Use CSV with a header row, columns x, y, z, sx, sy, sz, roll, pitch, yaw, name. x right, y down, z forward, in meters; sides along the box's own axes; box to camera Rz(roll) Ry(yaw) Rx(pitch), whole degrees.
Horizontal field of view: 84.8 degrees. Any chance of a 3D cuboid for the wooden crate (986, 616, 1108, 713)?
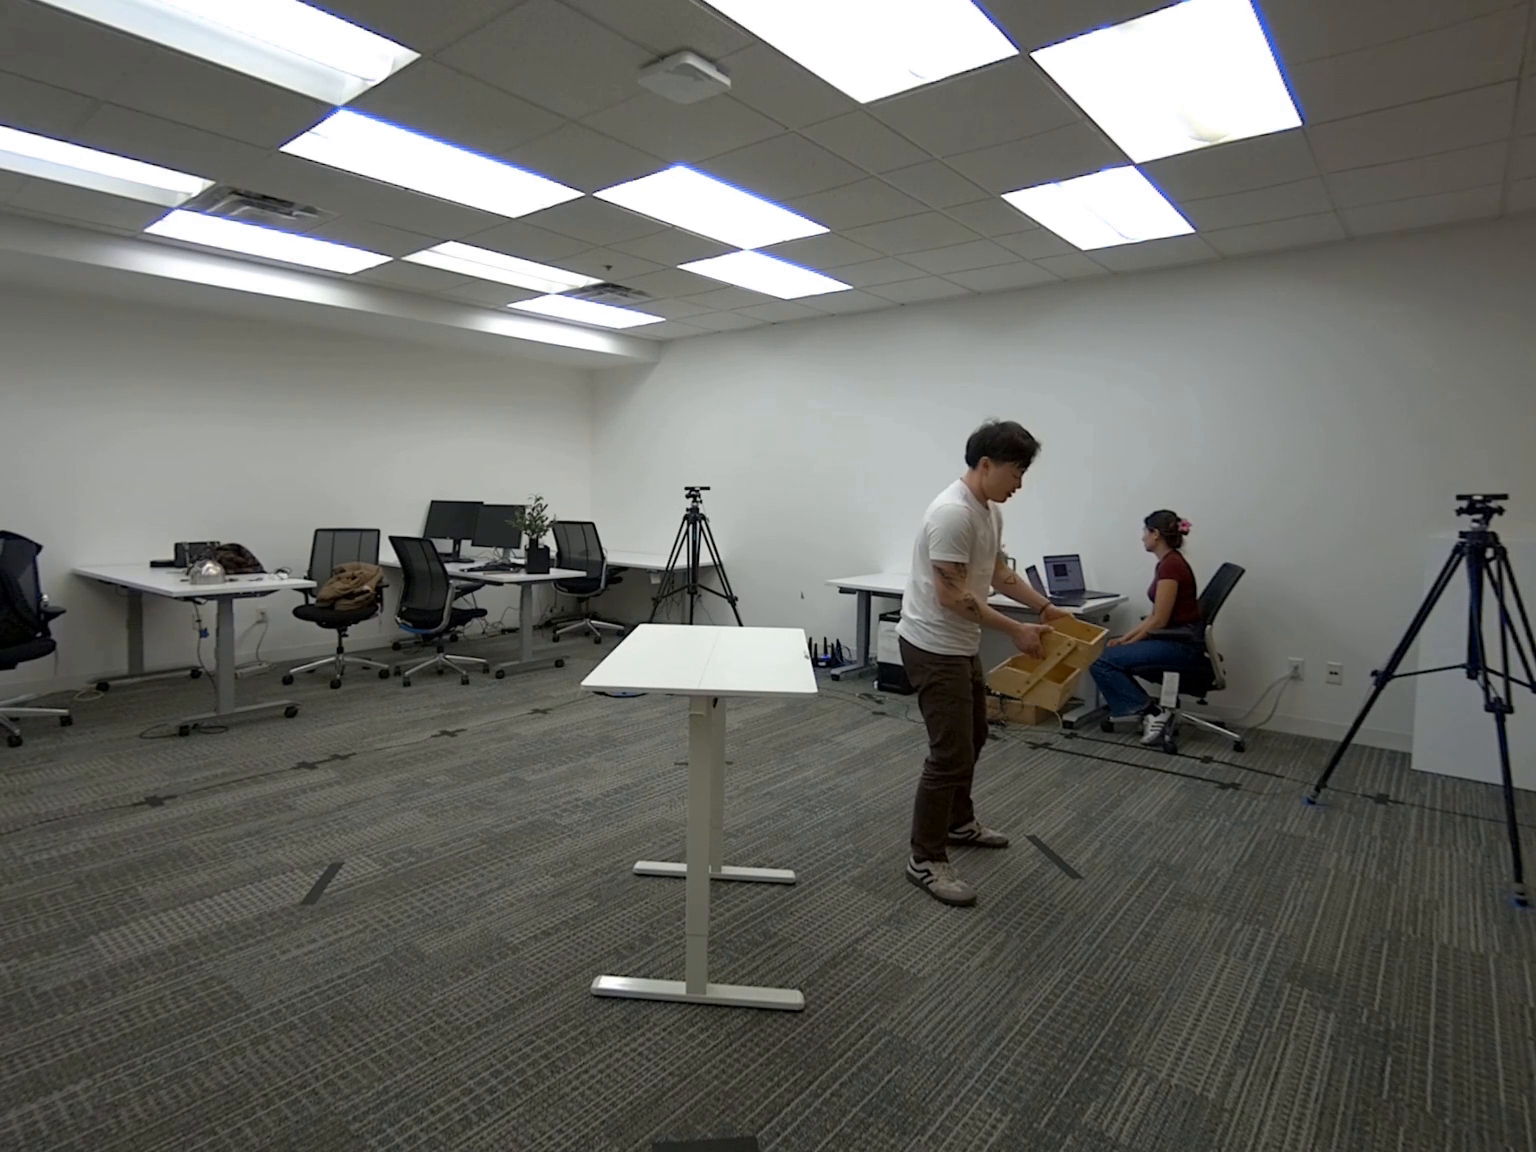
x,y,z,sx,sy,sz,roll,pitch,yaw,name
0.977,0.280,2.982,0.313,0.271,0.316,19,15,30,wooden crate
